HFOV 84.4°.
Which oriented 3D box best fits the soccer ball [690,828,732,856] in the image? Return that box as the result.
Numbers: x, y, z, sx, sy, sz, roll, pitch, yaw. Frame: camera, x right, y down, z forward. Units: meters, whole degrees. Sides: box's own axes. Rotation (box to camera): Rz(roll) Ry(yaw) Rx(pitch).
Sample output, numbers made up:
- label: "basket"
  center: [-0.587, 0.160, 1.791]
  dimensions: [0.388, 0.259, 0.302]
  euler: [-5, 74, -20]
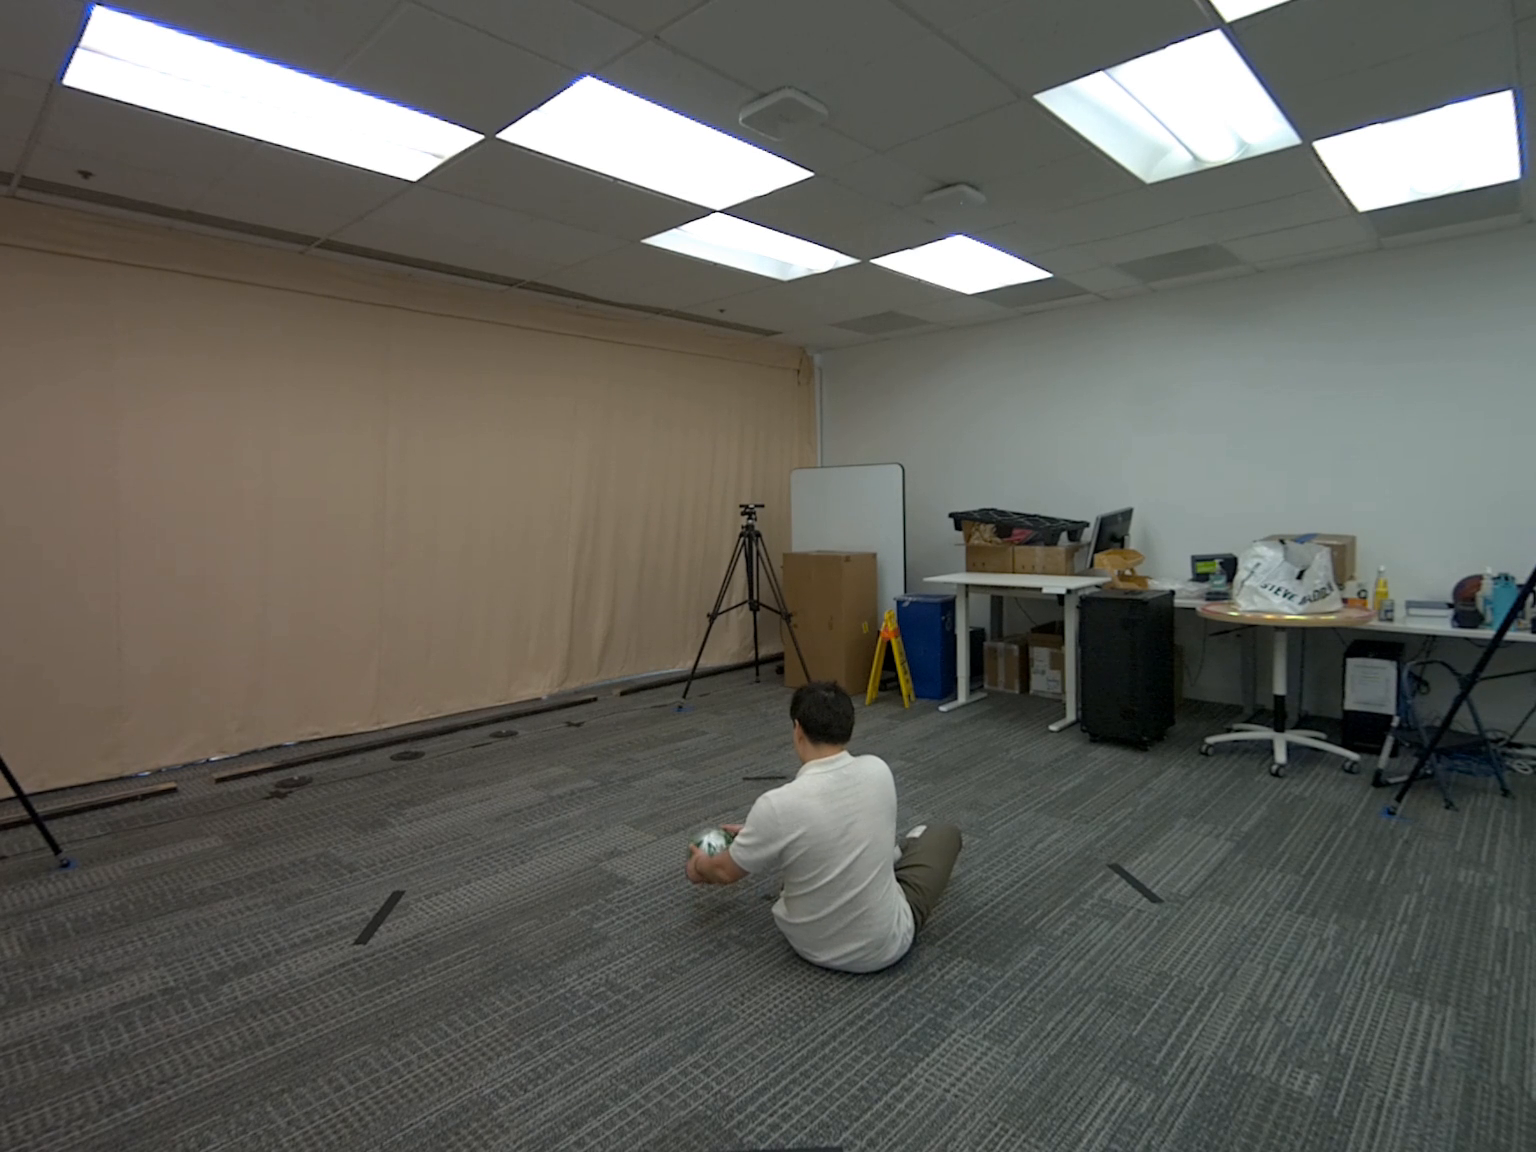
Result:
- label: "soccer ball"
  center: [-0.173, 0.945, 2.888]
  dimensions: [0.187, 0.187, 0.188]
  euler: [-1, 4, -2]
